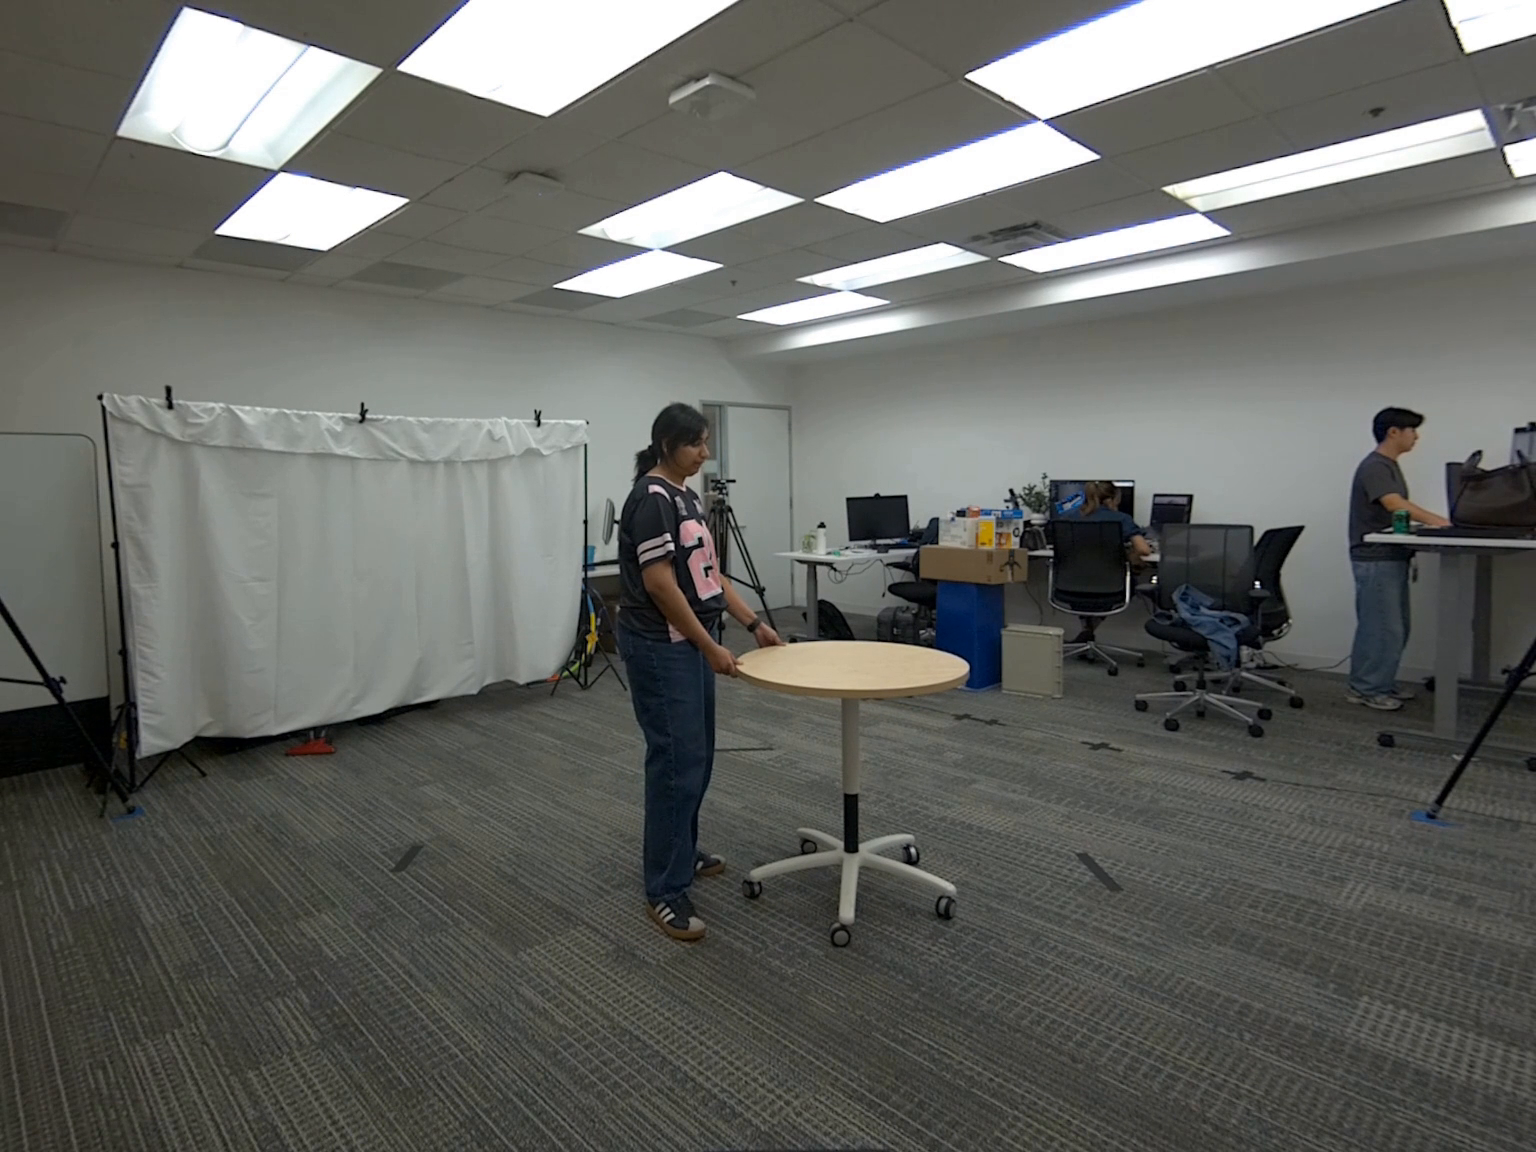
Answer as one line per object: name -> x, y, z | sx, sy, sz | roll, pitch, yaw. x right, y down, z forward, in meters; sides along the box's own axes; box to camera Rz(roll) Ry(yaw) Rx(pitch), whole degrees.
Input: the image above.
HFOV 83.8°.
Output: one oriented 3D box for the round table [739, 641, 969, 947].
round table -> 0.274, 0.677, 2.865 | 0.763, 0.791, 0.768 | -1, 5, -2
